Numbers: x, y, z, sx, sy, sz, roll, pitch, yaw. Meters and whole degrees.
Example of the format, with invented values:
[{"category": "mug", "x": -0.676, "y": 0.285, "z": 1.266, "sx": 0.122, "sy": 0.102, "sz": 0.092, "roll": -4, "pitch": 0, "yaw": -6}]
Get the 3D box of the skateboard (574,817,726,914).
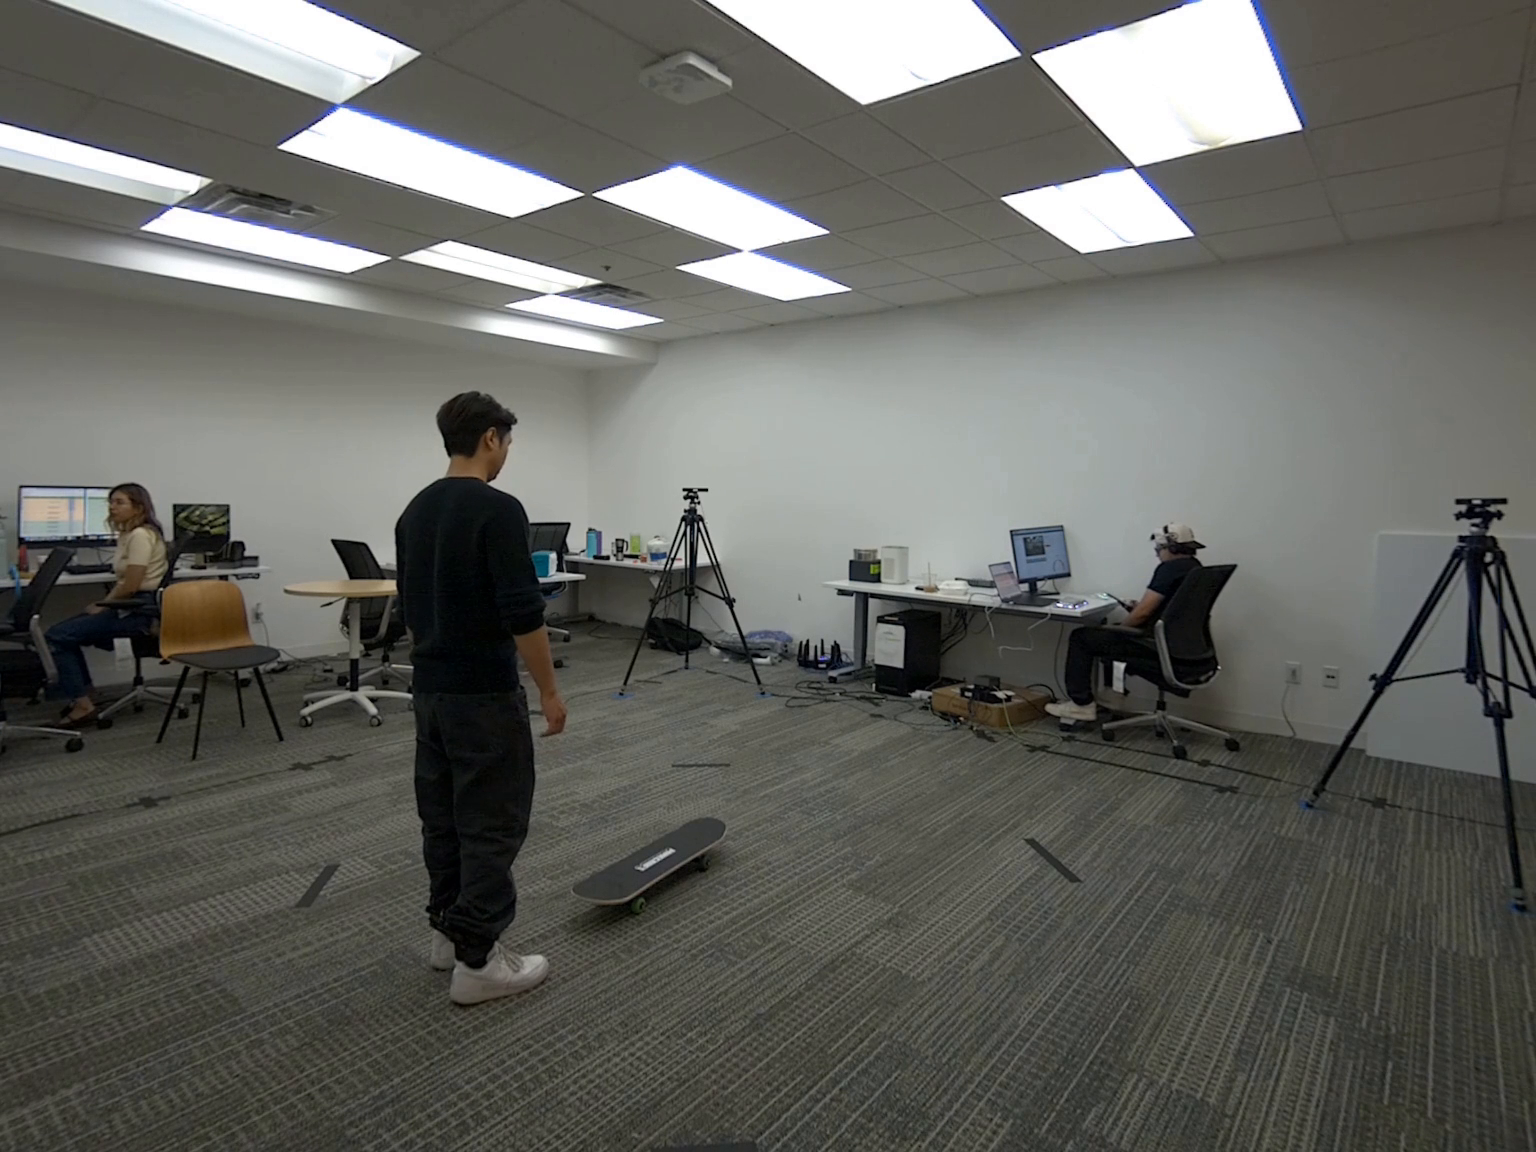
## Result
[{"category": "skateboard", "x": -0.406, "y": 1.022, "z": 2.983, "sx": 0.199, "sy": 0.110, "sz": 0.765, "roll": 3, "pitch": 6, "yaw": 29}]
